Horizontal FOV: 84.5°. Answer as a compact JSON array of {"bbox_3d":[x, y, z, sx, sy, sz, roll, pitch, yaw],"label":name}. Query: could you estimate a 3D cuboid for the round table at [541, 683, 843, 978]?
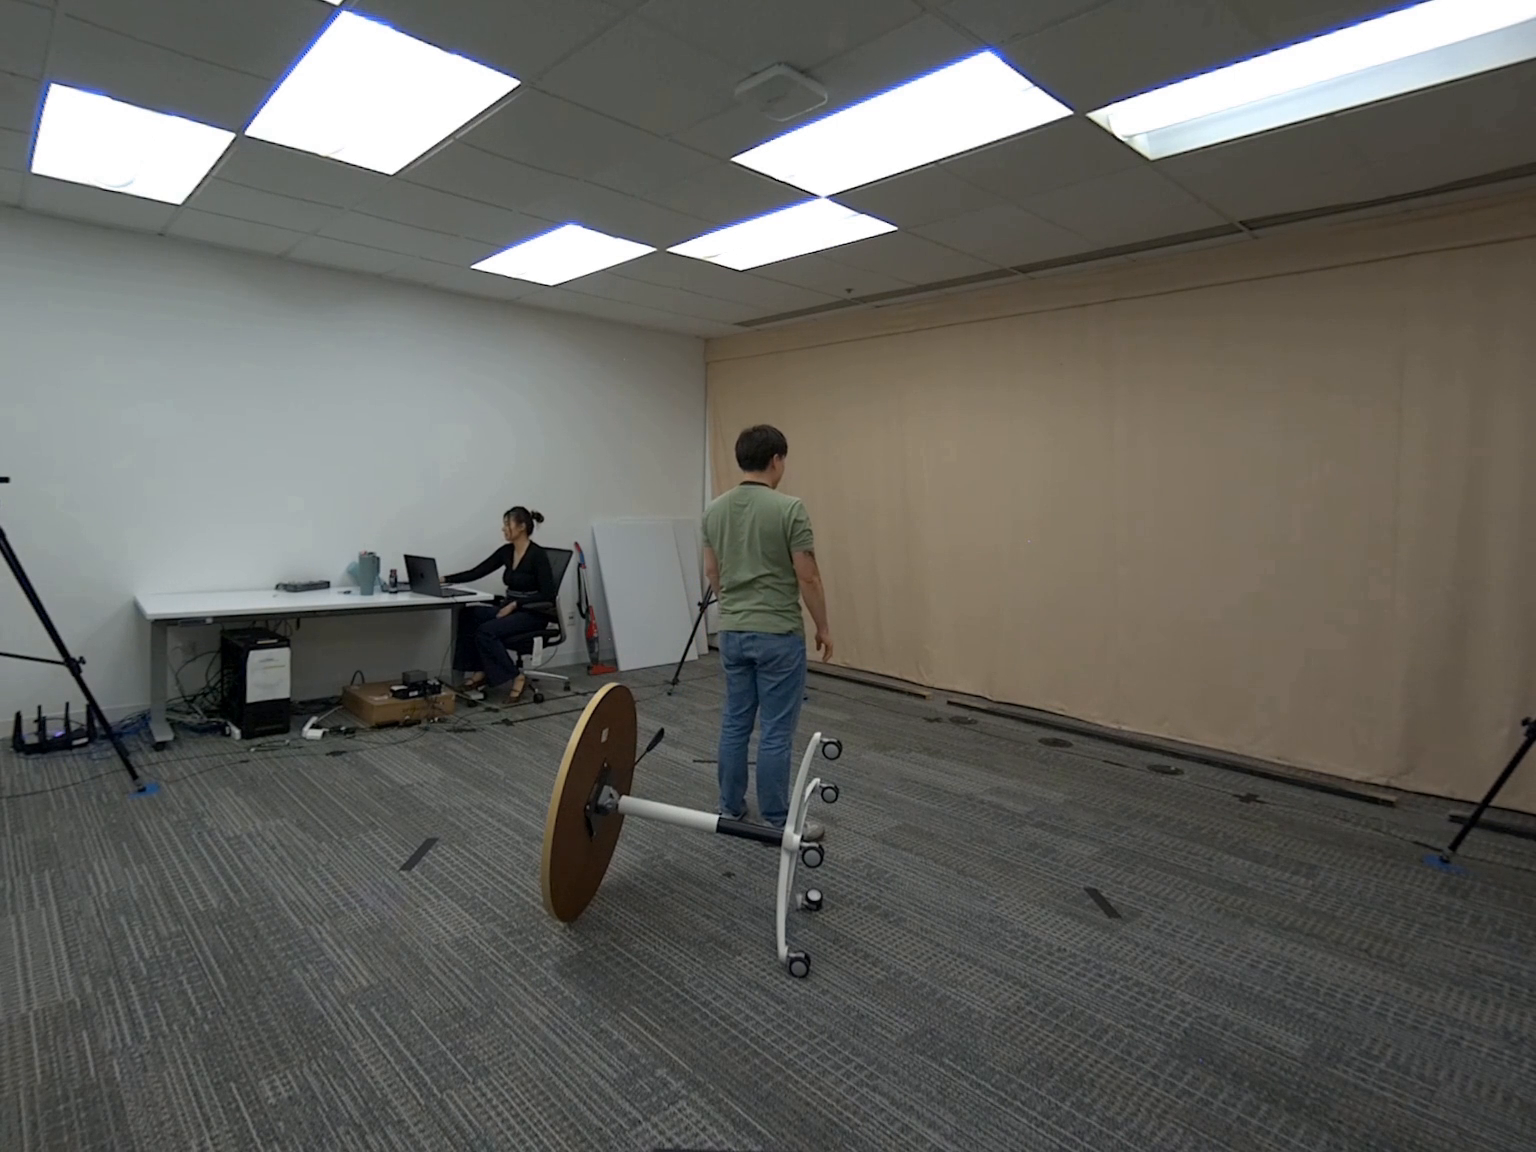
[{"bbox_3d":[-0.202,0.804,2.722,0.801,0.761,0.760,9,5,9],"label":"round table"}]
